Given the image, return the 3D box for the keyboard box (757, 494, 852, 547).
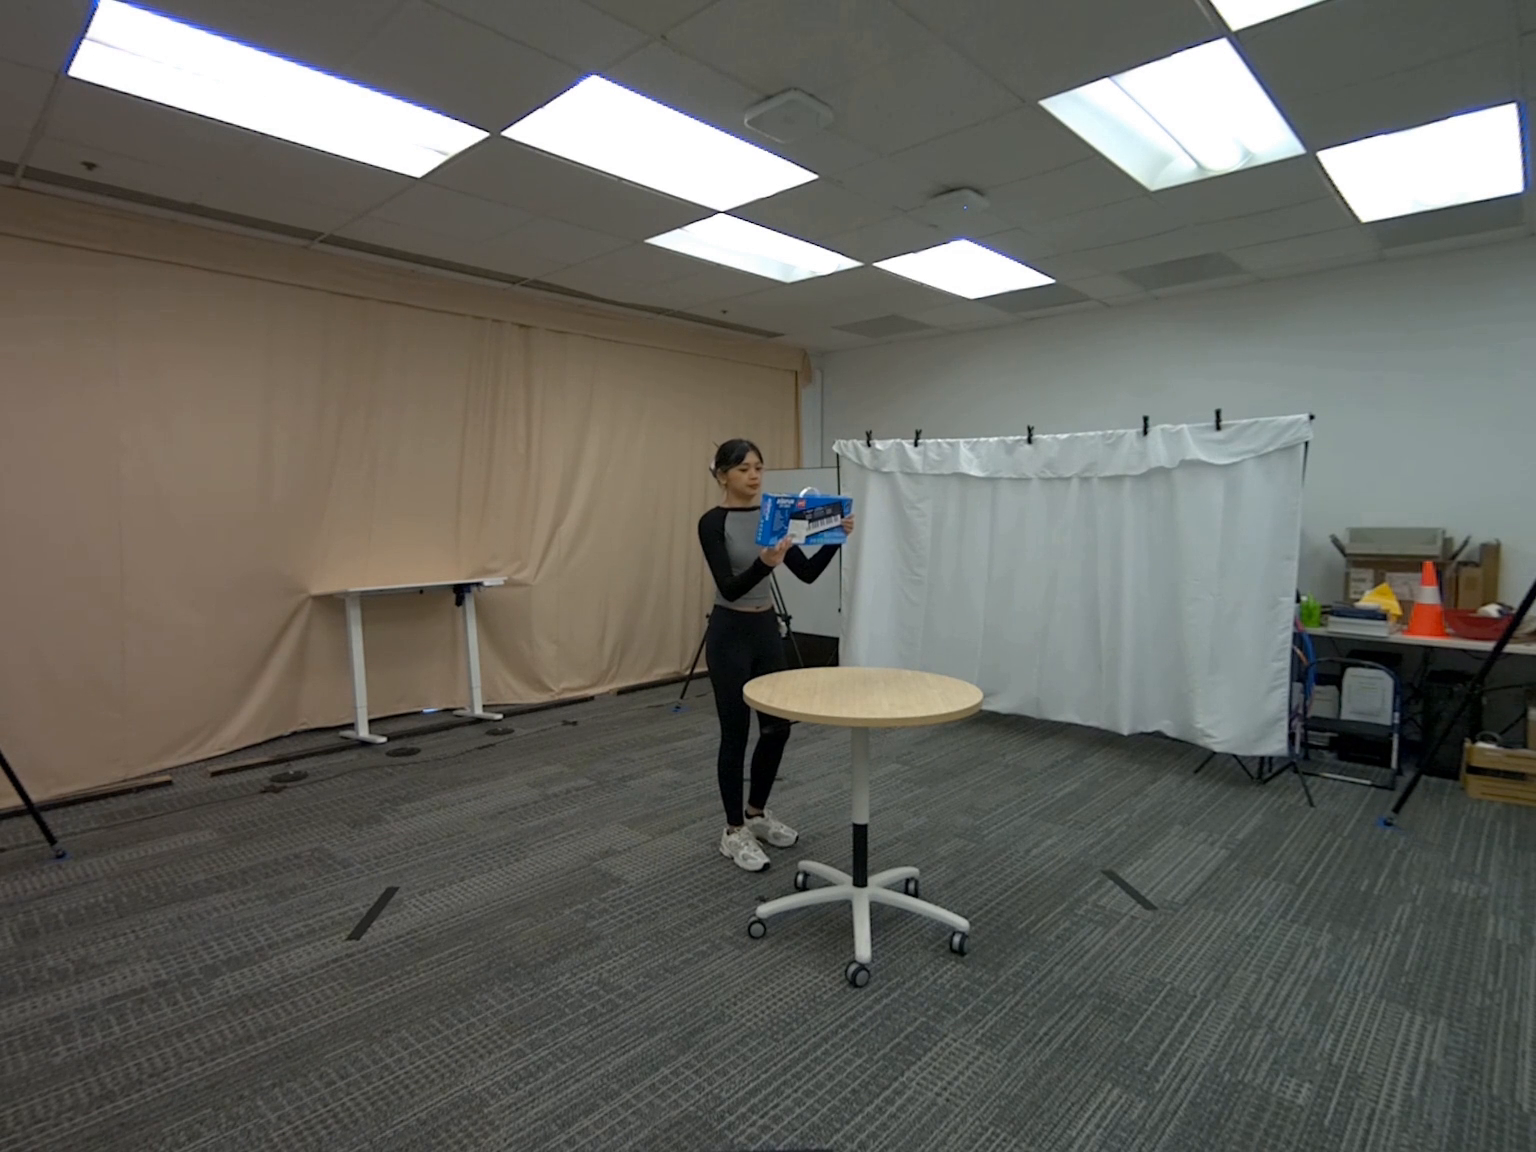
[{"bbox_3d":[0.137,-0.198,2.974,0.061,0.175,0.423,19,15,41],"label":"keyboard box"}]
